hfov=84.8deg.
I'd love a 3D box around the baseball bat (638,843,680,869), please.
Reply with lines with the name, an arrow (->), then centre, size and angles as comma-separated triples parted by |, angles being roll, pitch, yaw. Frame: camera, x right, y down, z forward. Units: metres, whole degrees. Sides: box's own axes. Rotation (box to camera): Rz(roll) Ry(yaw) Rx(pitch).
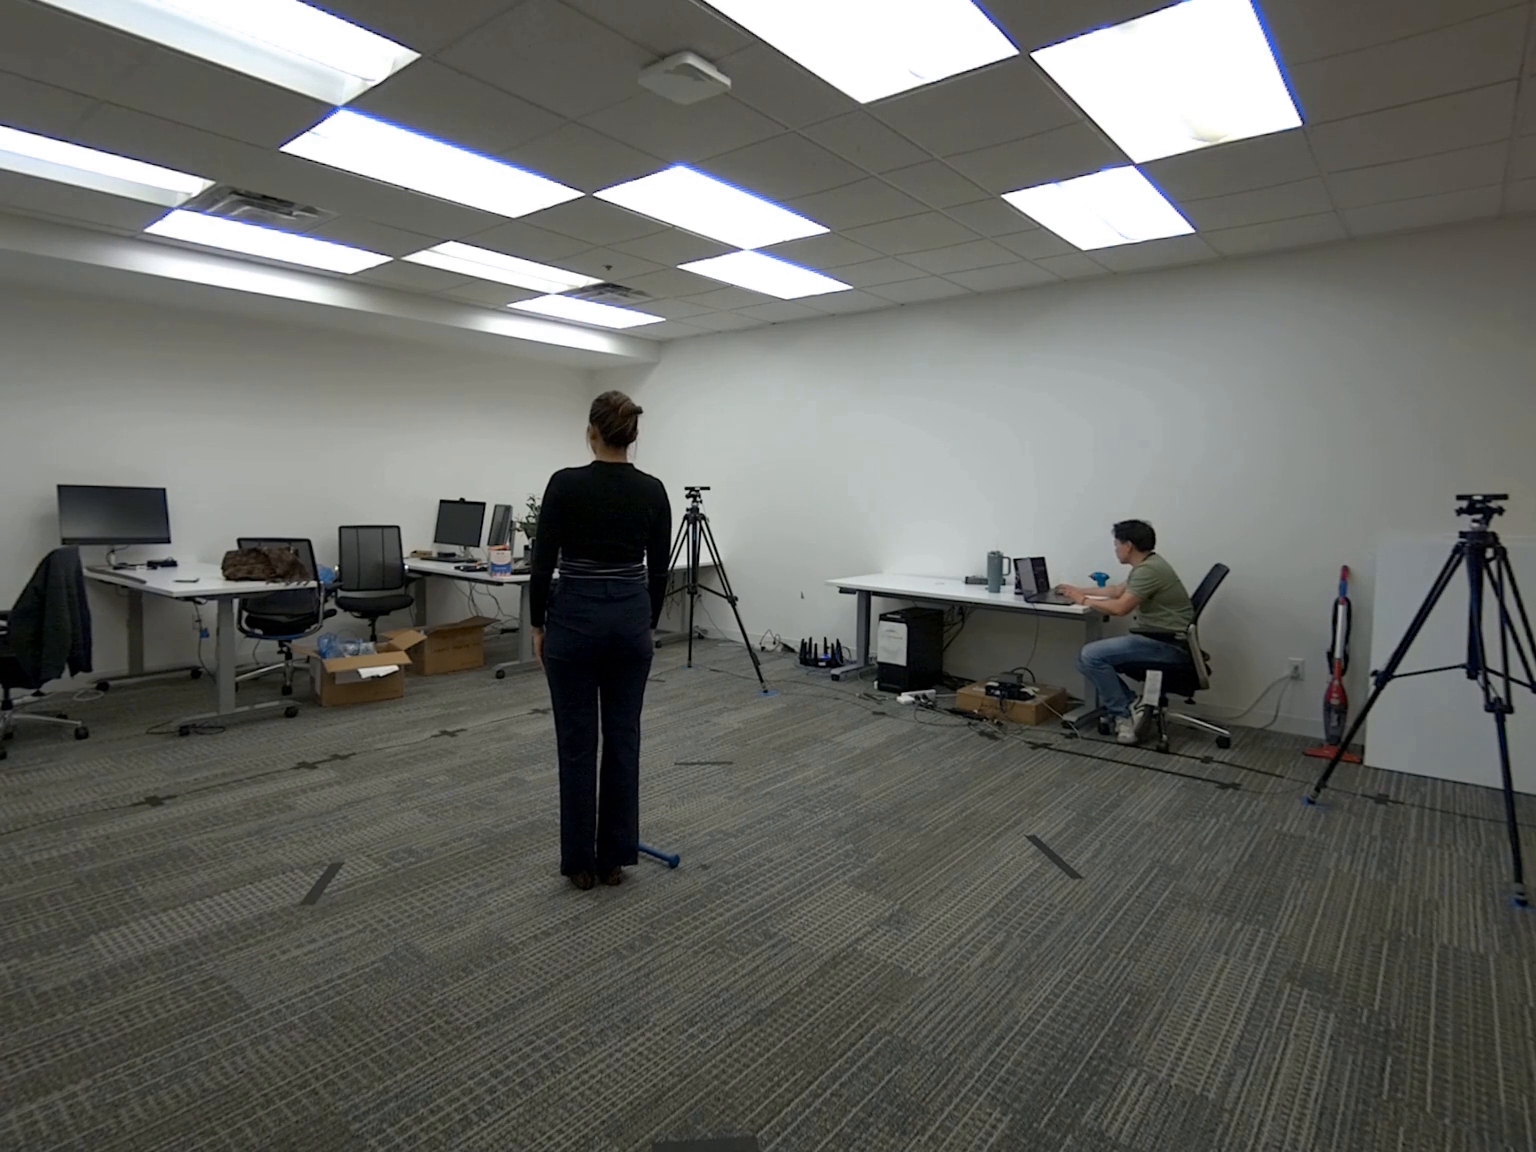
baseball bat -> -0.561, 1.009, 3.262 | 0.562, 0.088, 0.086 | 9, 8, 36
